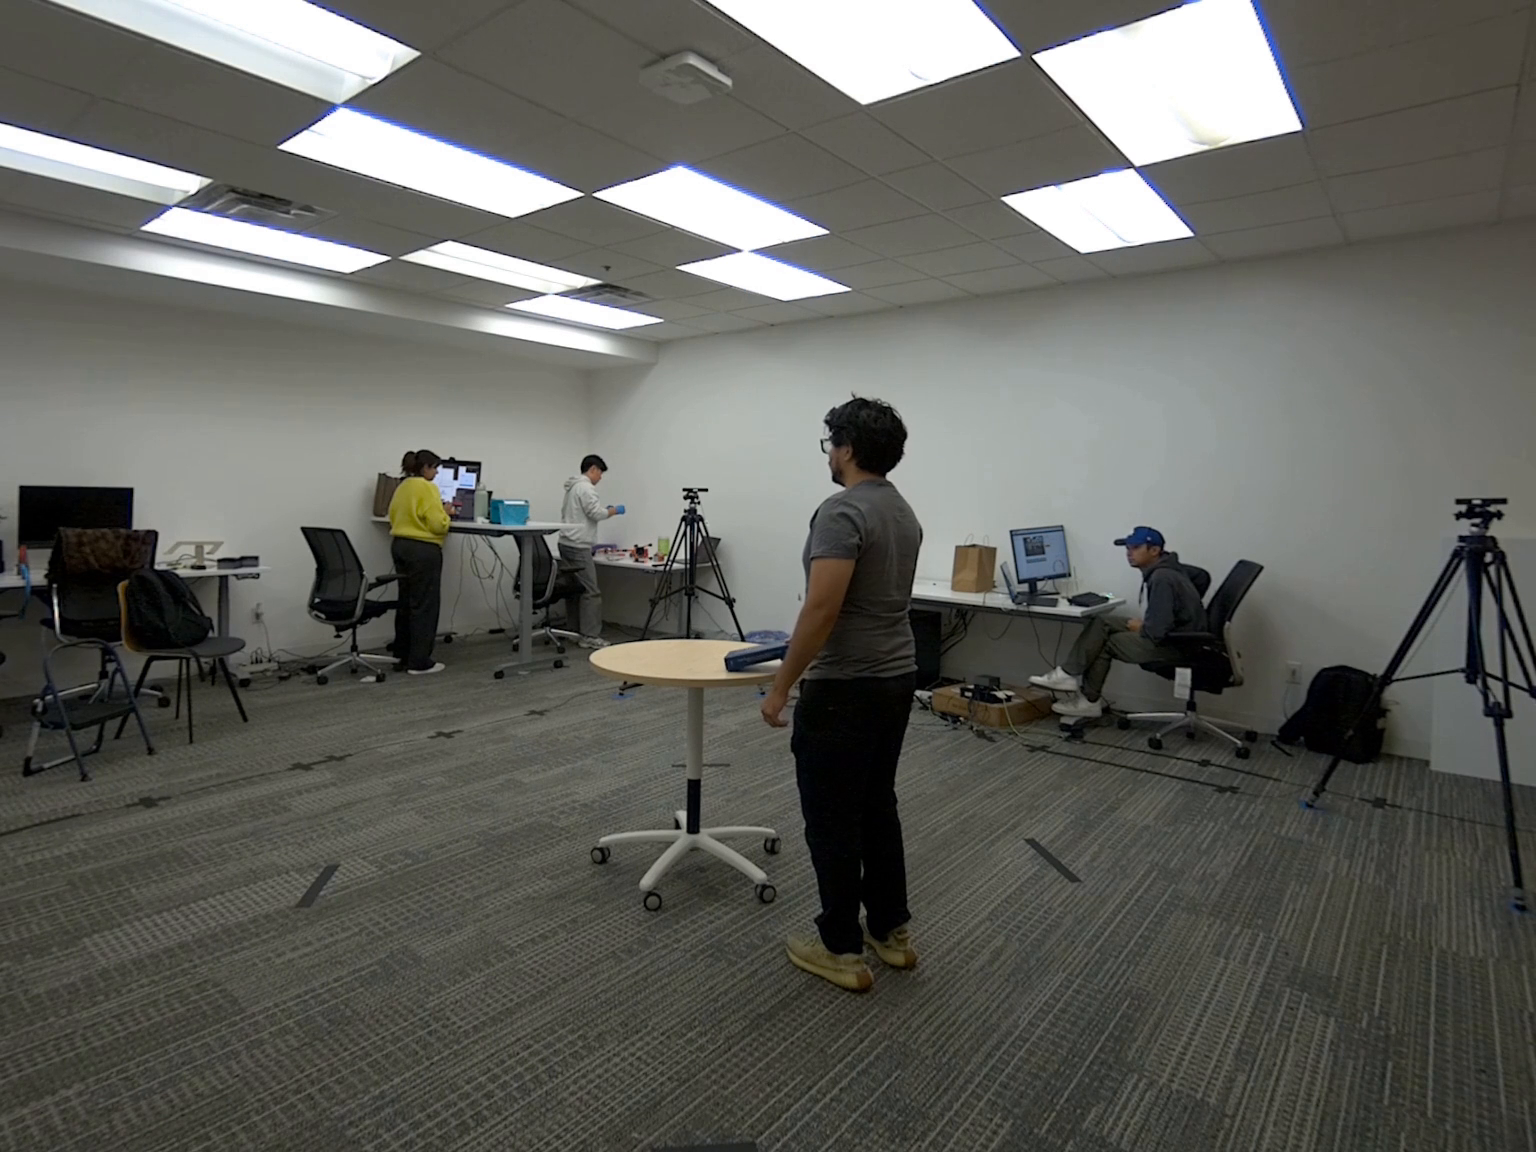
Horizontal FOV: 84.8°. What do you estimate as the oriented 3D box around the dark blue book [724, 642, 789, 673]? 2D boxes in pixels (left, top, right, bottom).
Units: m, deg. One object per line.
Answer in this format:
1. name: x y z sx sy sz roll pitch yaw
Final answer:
1. dark blue book: -0.044 0.262 2.887 0.245 0.045 0.163 -12 1 -1
